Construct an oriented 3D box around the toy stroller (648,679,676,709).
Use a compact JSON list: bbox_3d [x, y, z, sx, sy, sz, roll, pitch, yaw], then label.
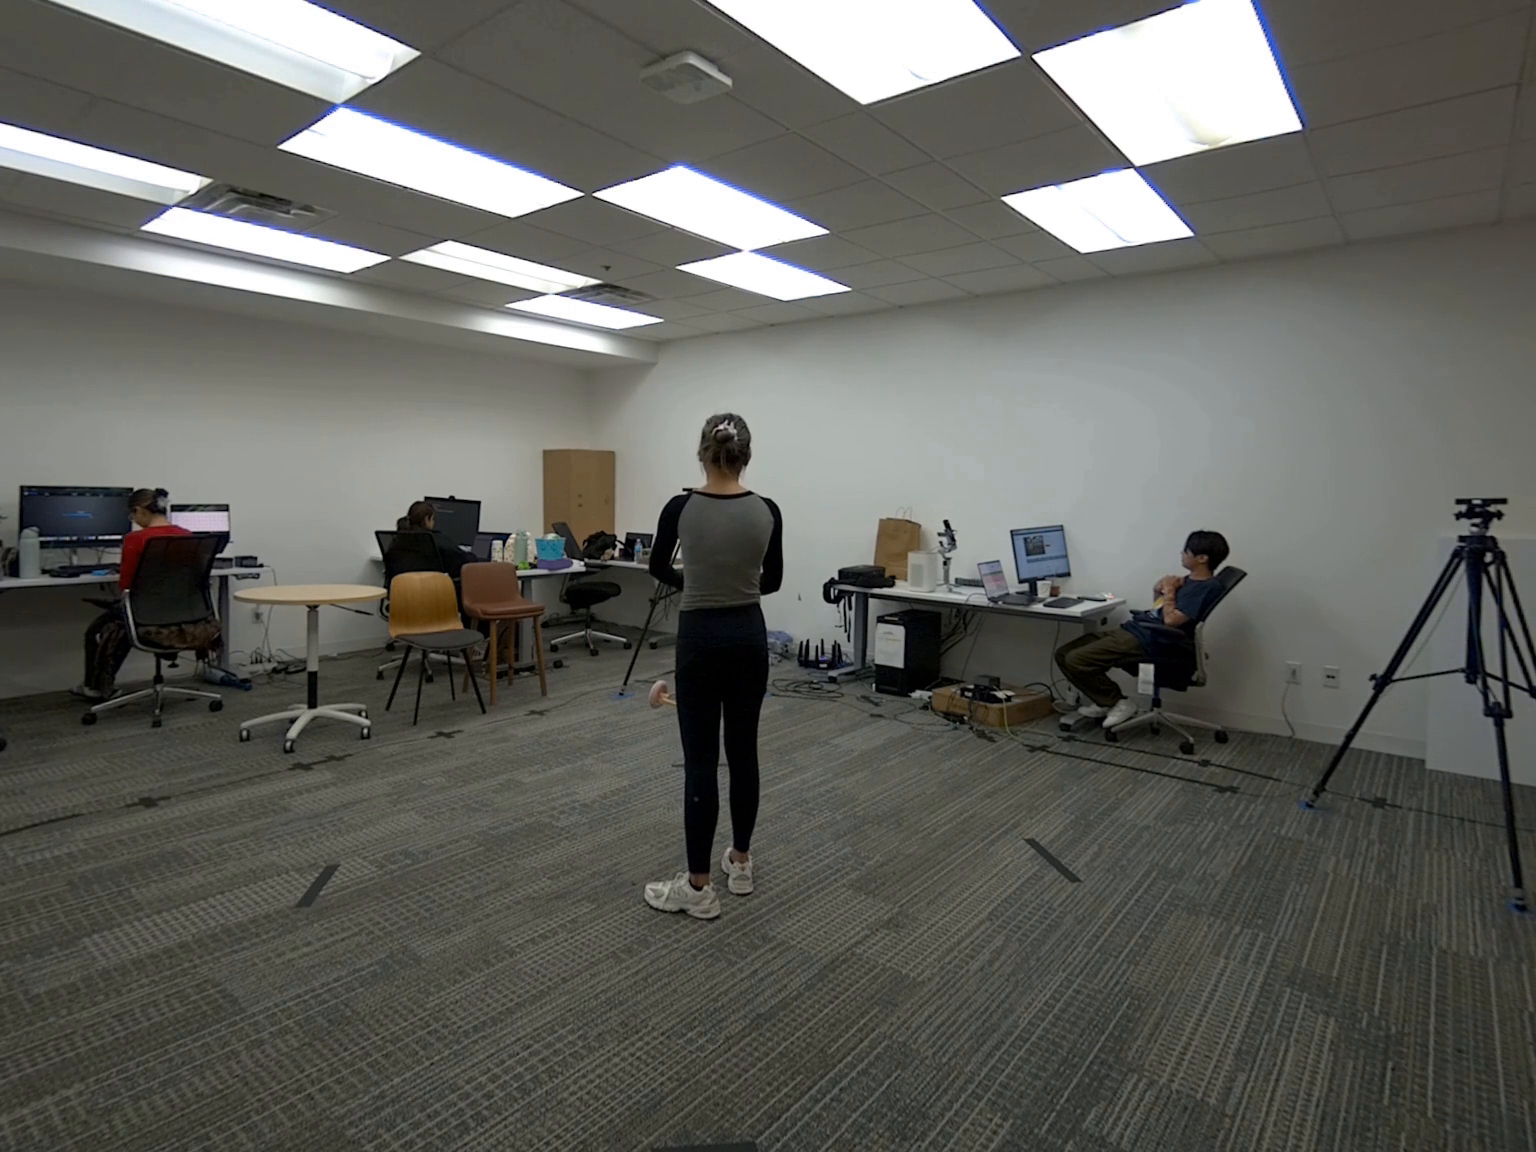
[{"bbox_3d":[-0.238,0.354,3.314,0.291,0.537,0.328,11,-8,32],"label":"toy stroller"}]
